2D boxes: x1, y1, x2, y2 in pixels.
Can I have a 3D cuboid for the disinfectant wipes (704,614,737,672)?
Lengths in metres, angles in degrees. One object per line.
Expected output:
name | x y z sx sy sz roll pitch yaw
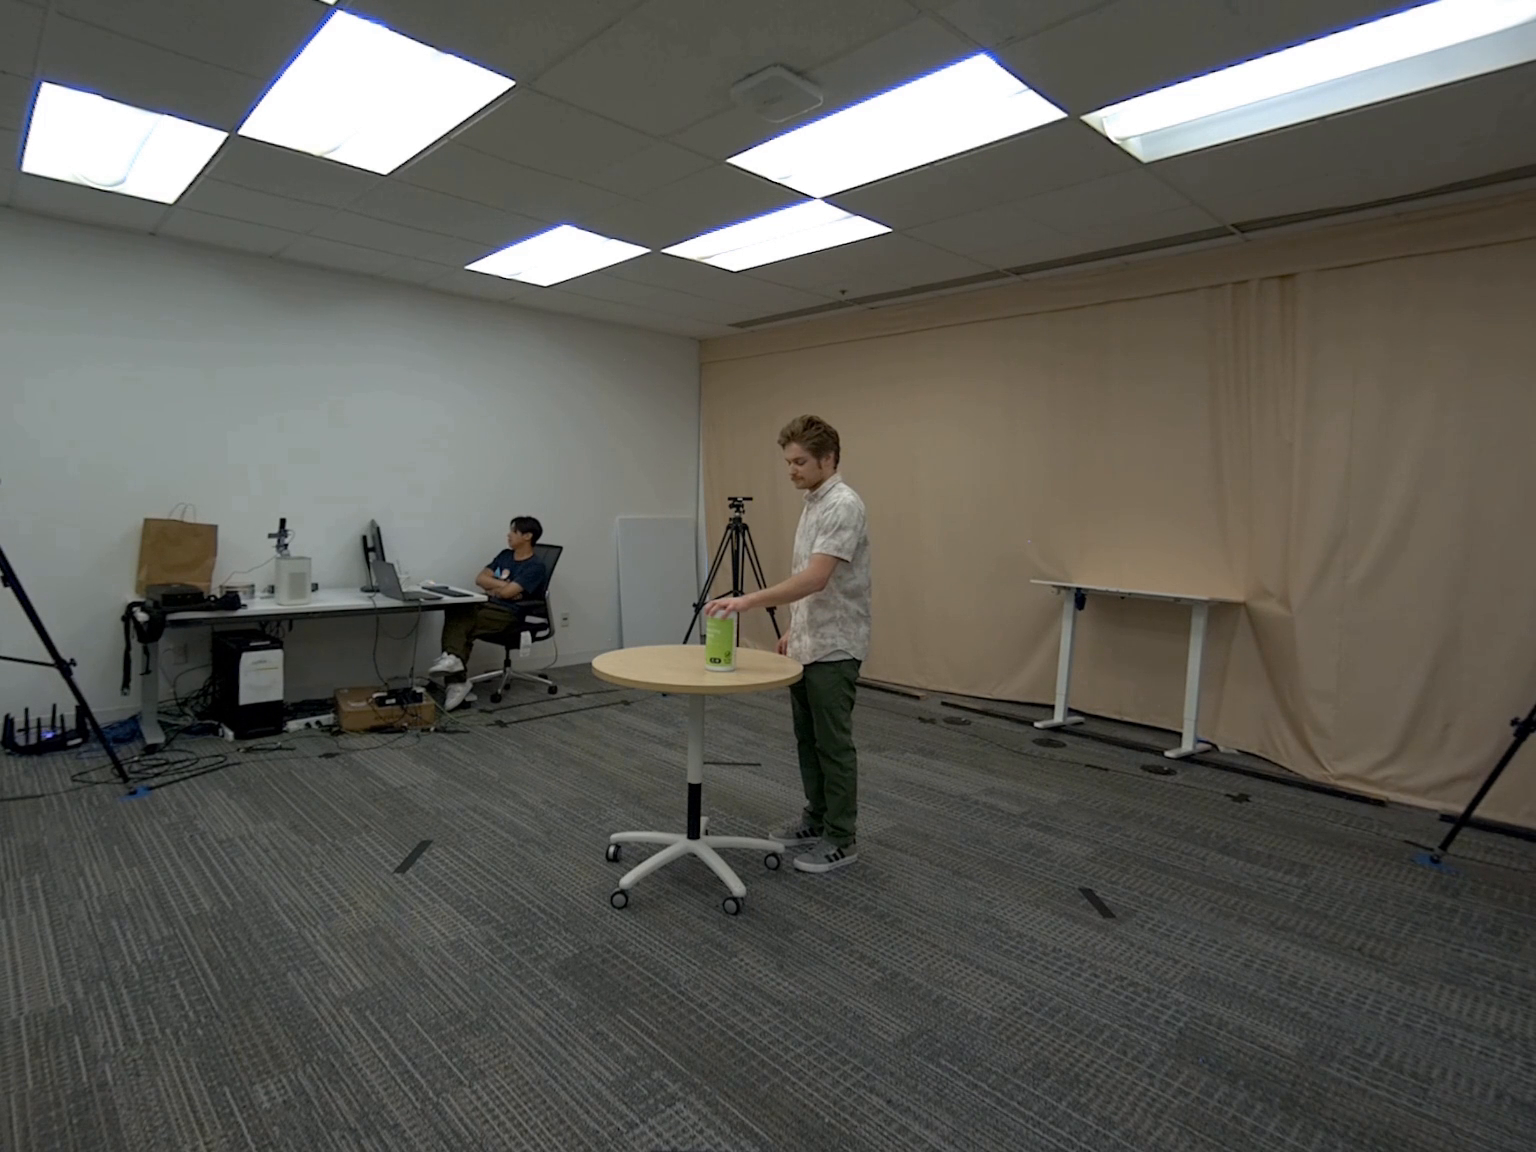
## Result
disinfectant wipes | -0.169 0.224 2.960 0.118 0.216 0.118 2 5 -2
